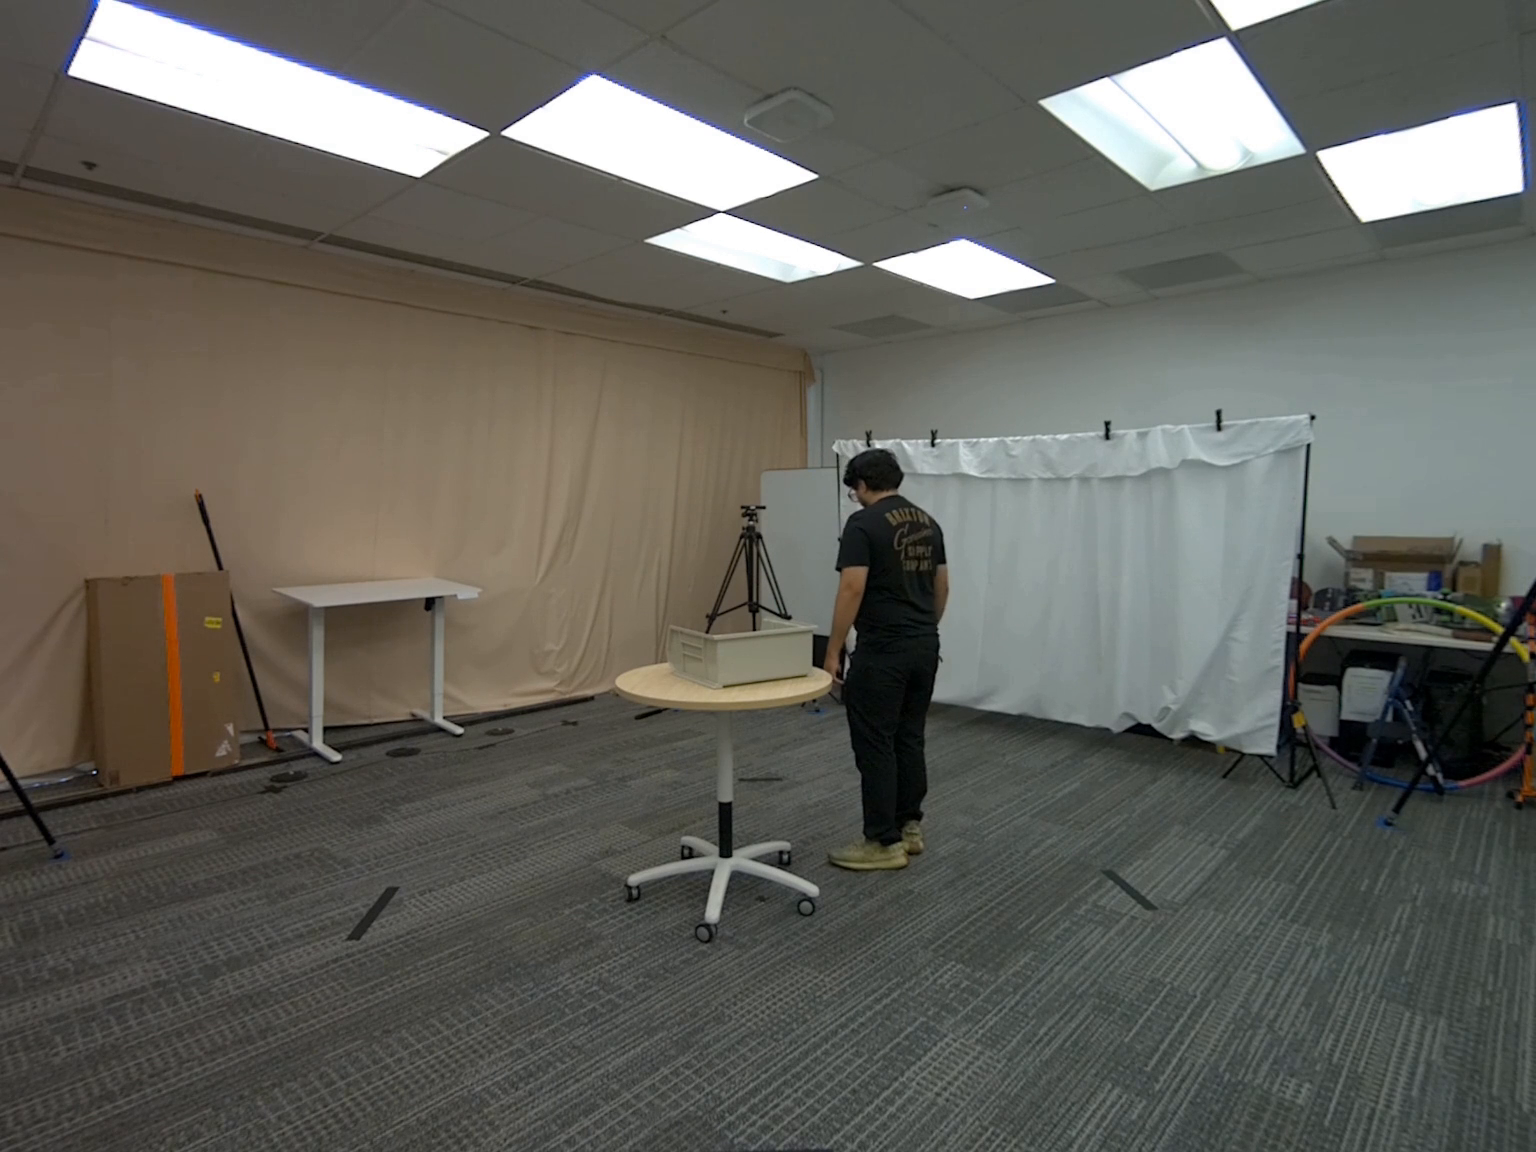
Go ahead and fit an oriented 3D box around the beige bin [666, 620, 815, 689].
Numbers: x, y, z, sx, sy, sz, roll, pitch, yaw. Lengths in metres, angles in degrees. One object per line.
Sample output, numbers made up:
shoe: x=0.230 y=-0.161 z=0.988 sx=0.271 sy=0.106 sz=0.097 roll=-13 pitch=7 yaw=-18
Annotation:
beige bin: x=-0.099 y=0.265 z=3.033 sx=0.411 sy=0.188 sz=0.389 roll=-2 pitch=5 yaw=-31
